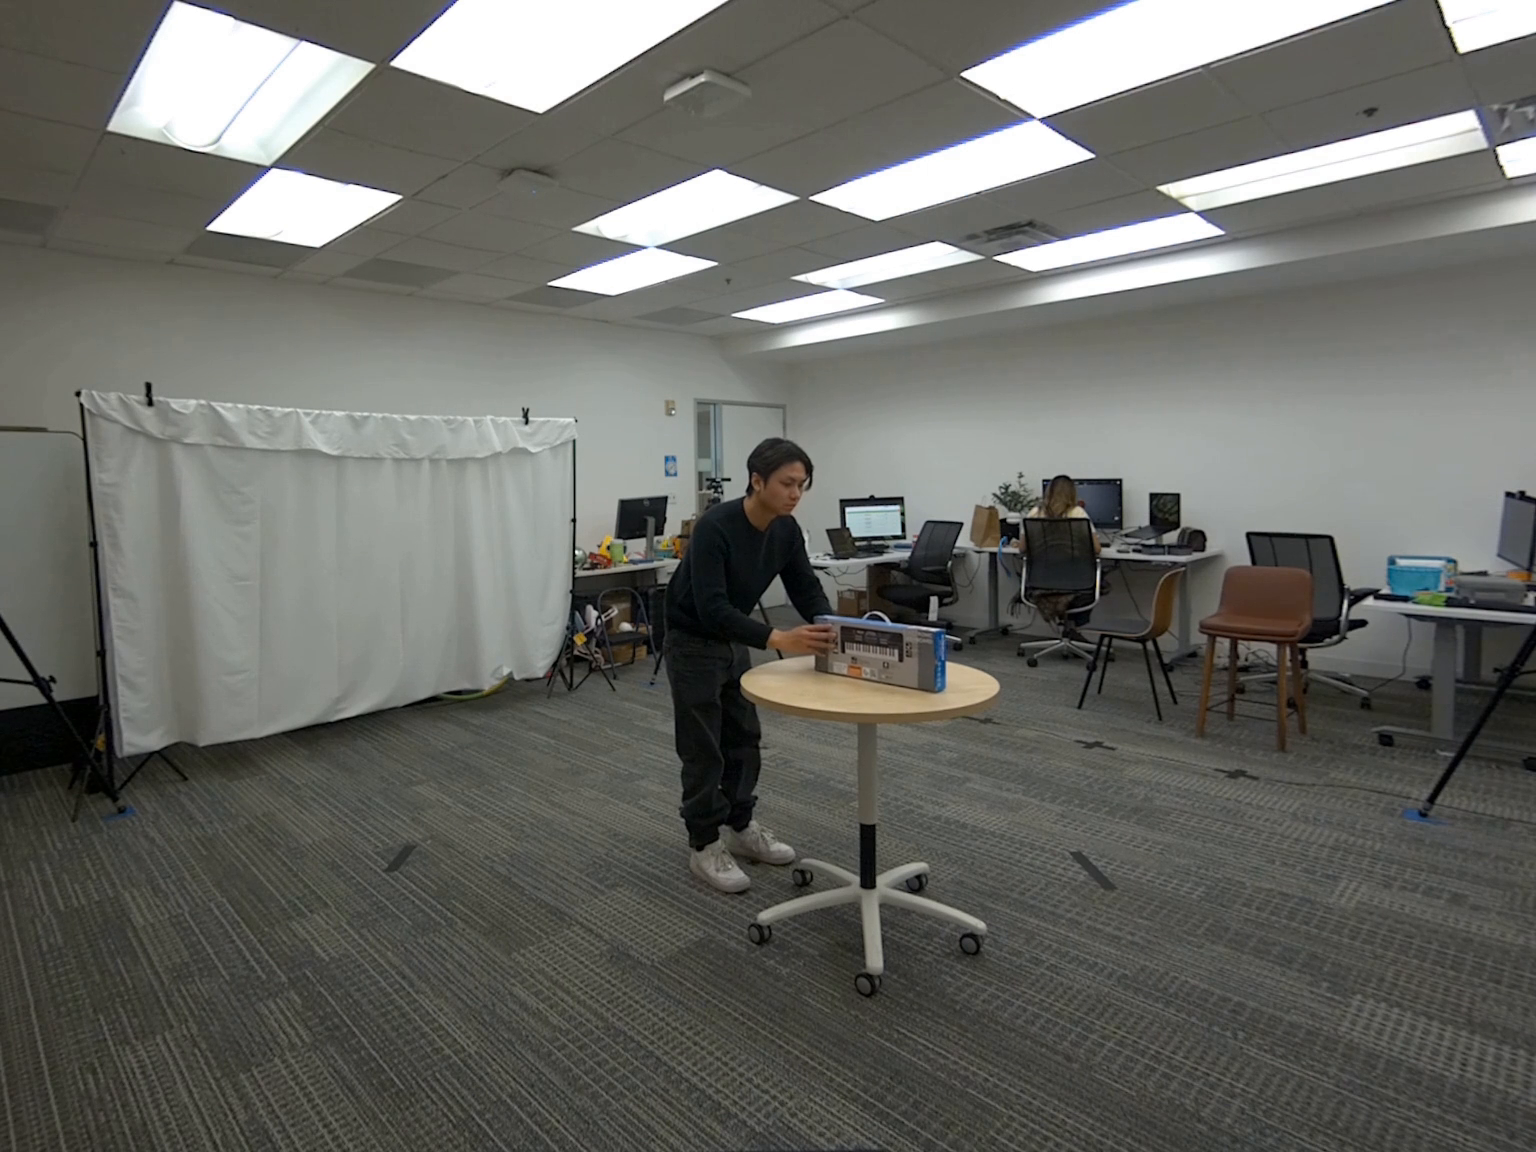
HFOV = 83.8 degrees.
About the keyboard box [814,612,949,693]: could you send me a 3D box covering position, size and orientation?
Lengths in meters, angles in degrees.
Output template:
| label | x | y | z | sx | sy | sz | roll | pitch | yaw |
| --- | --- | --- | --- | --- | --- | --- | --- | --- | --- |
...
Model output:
| label | x | y | z | sx | sy | sz | roll | pitch | yaw |
| --- | --- | --- | --- | --- | --- | --- | --- | --- | --- |
| keyboard box | 0.333 | 0.230 | 2.562 | 0.450 | 0.175 | 0.057 | 5 | 6 | 44 |
